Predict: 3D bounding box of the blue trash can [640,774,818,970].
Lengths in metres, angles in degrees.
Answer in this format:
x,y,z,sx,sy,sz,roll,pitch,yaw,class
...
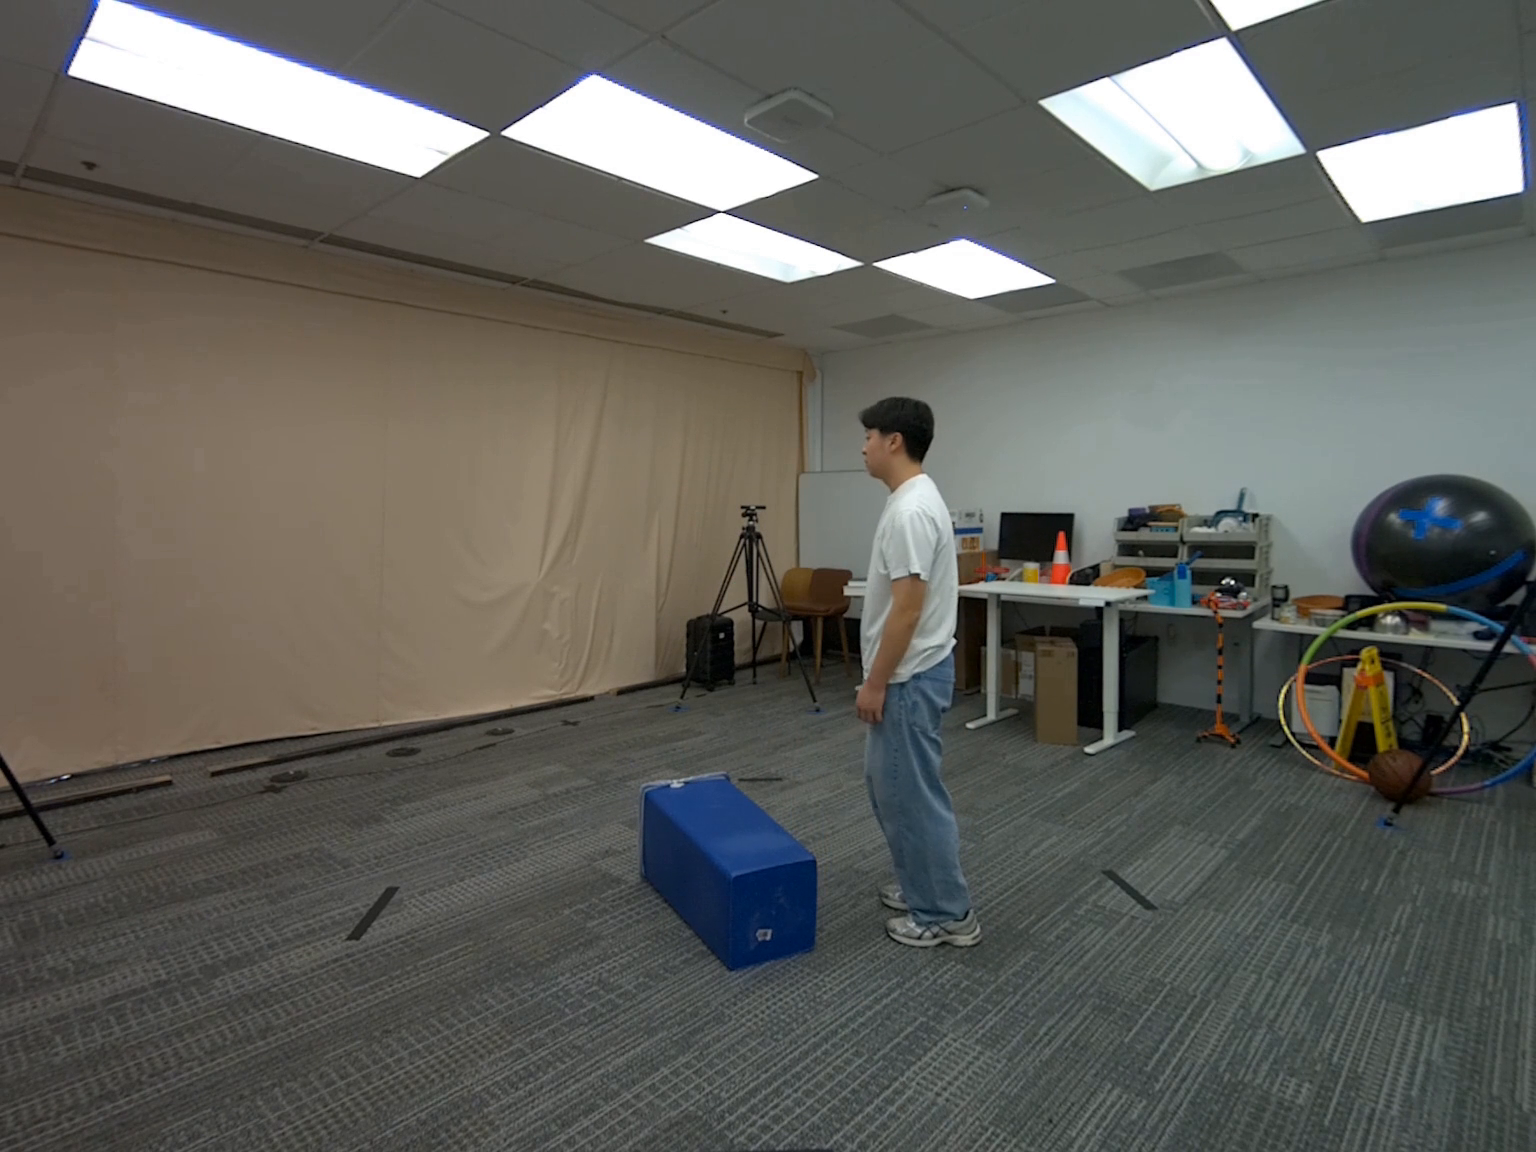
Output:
x,y,z,sx,sy,sz,roll,pitch,yaw,class
-0.151,0.989,2.881,0.369,0.372,0.734,-2,8,-27,blue trash can
